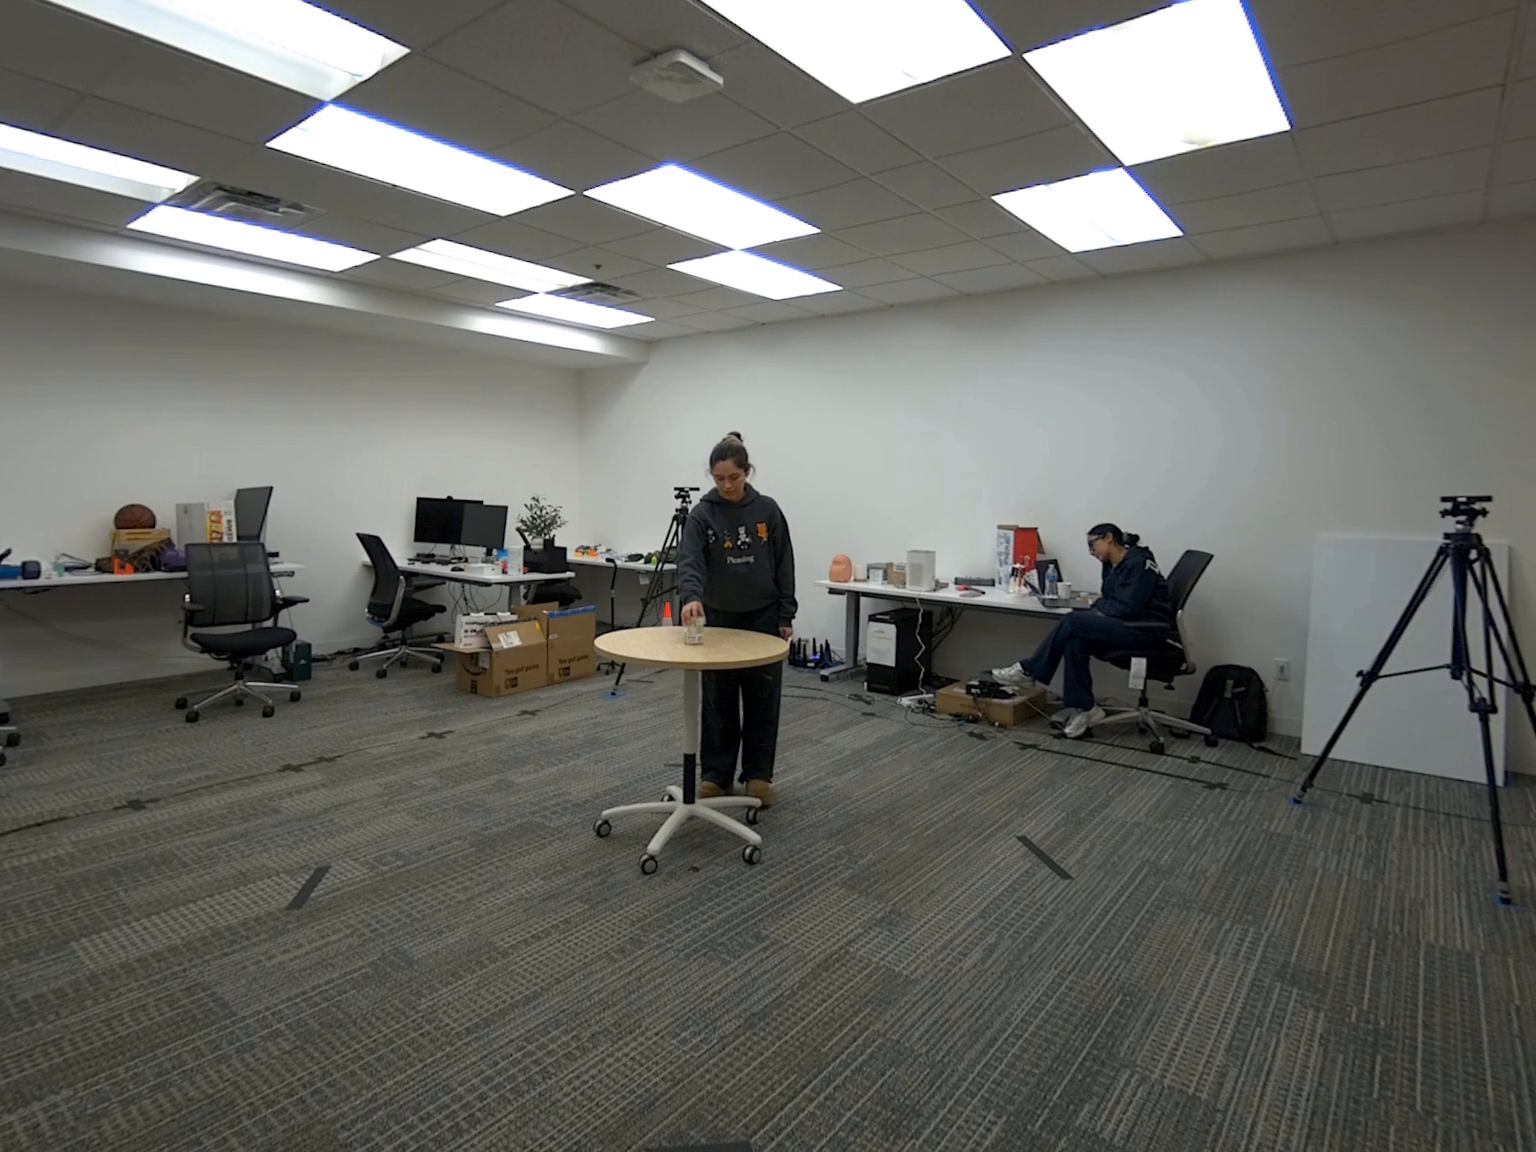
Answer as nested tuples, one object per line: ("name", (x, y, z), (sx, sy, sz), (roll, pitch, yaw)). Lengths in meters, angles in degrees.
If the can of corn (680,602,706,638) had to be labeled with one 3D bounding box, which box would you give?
("can of corn", (-0.305, 0.151, 3.361), (0.074, 0.111, 0.074), (-2, 1, -2))
